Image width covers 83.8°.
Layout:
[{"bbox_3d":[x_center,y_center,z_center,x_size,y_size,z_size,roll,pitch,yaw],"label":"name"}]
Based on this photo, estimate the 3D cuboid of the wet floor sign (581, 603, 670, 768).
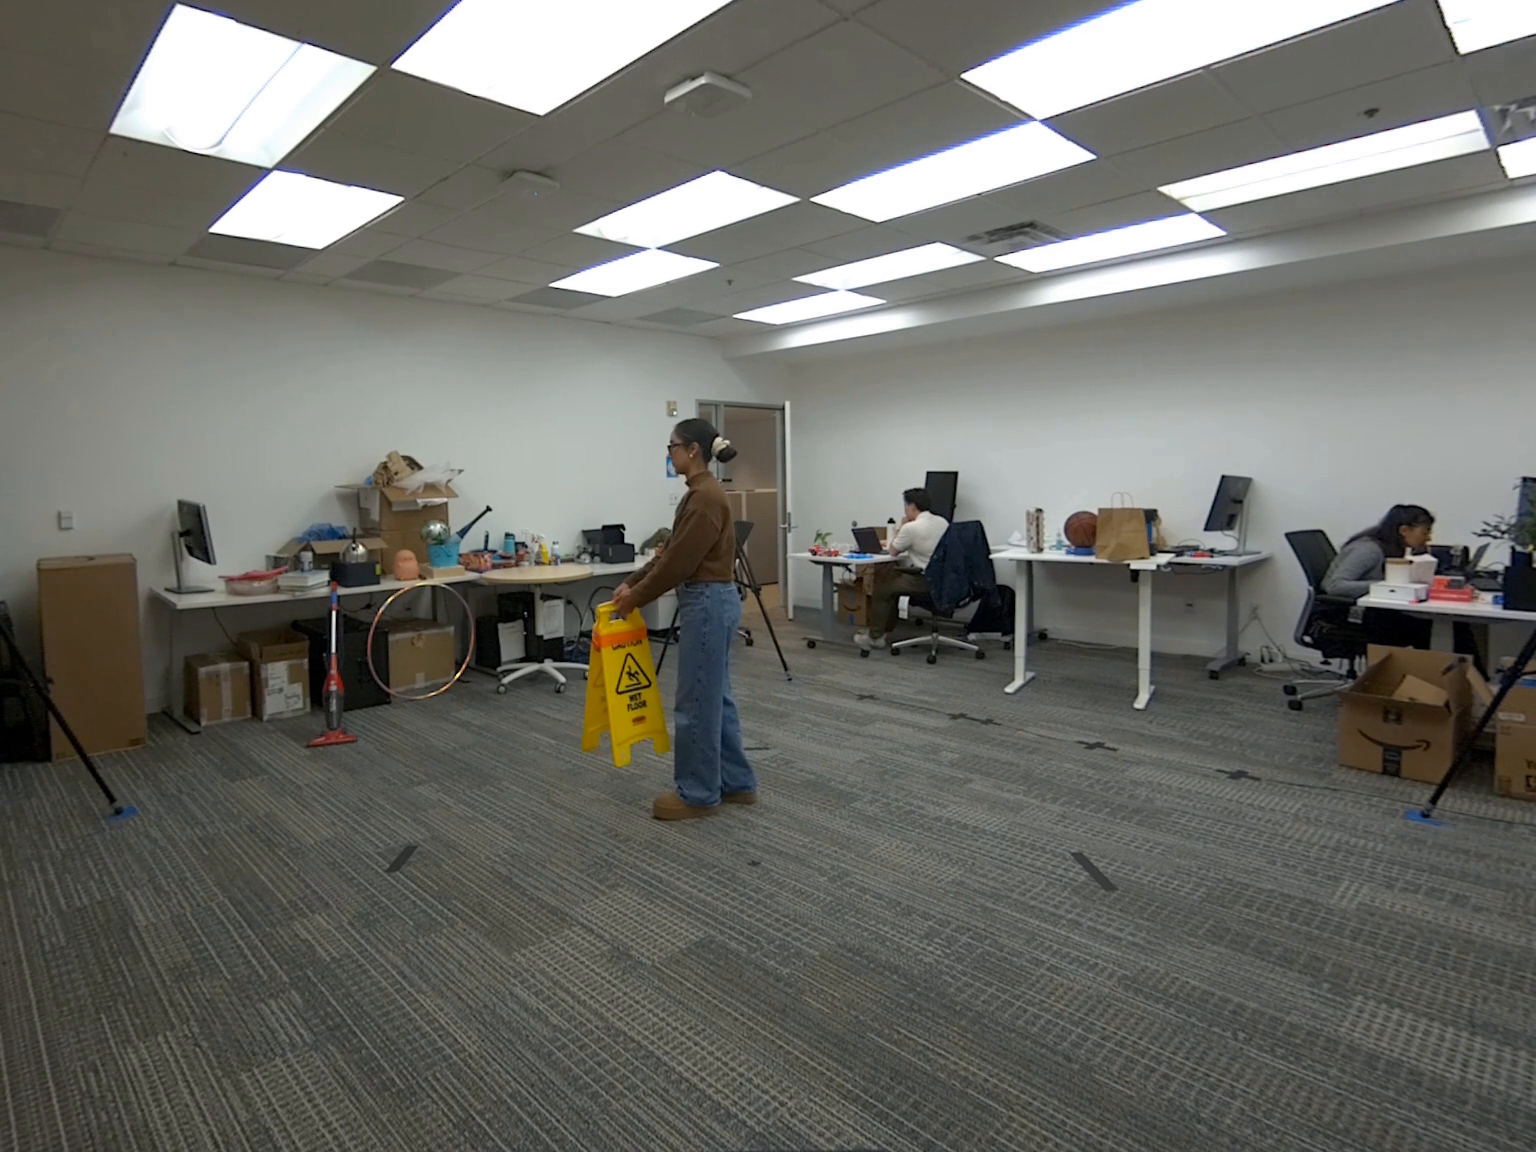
[{"bbox_3d":[-0.622,0.428,3.622,0.275,0.643,0.298,-6,6,-42],"label":"wet floor sign"}]
